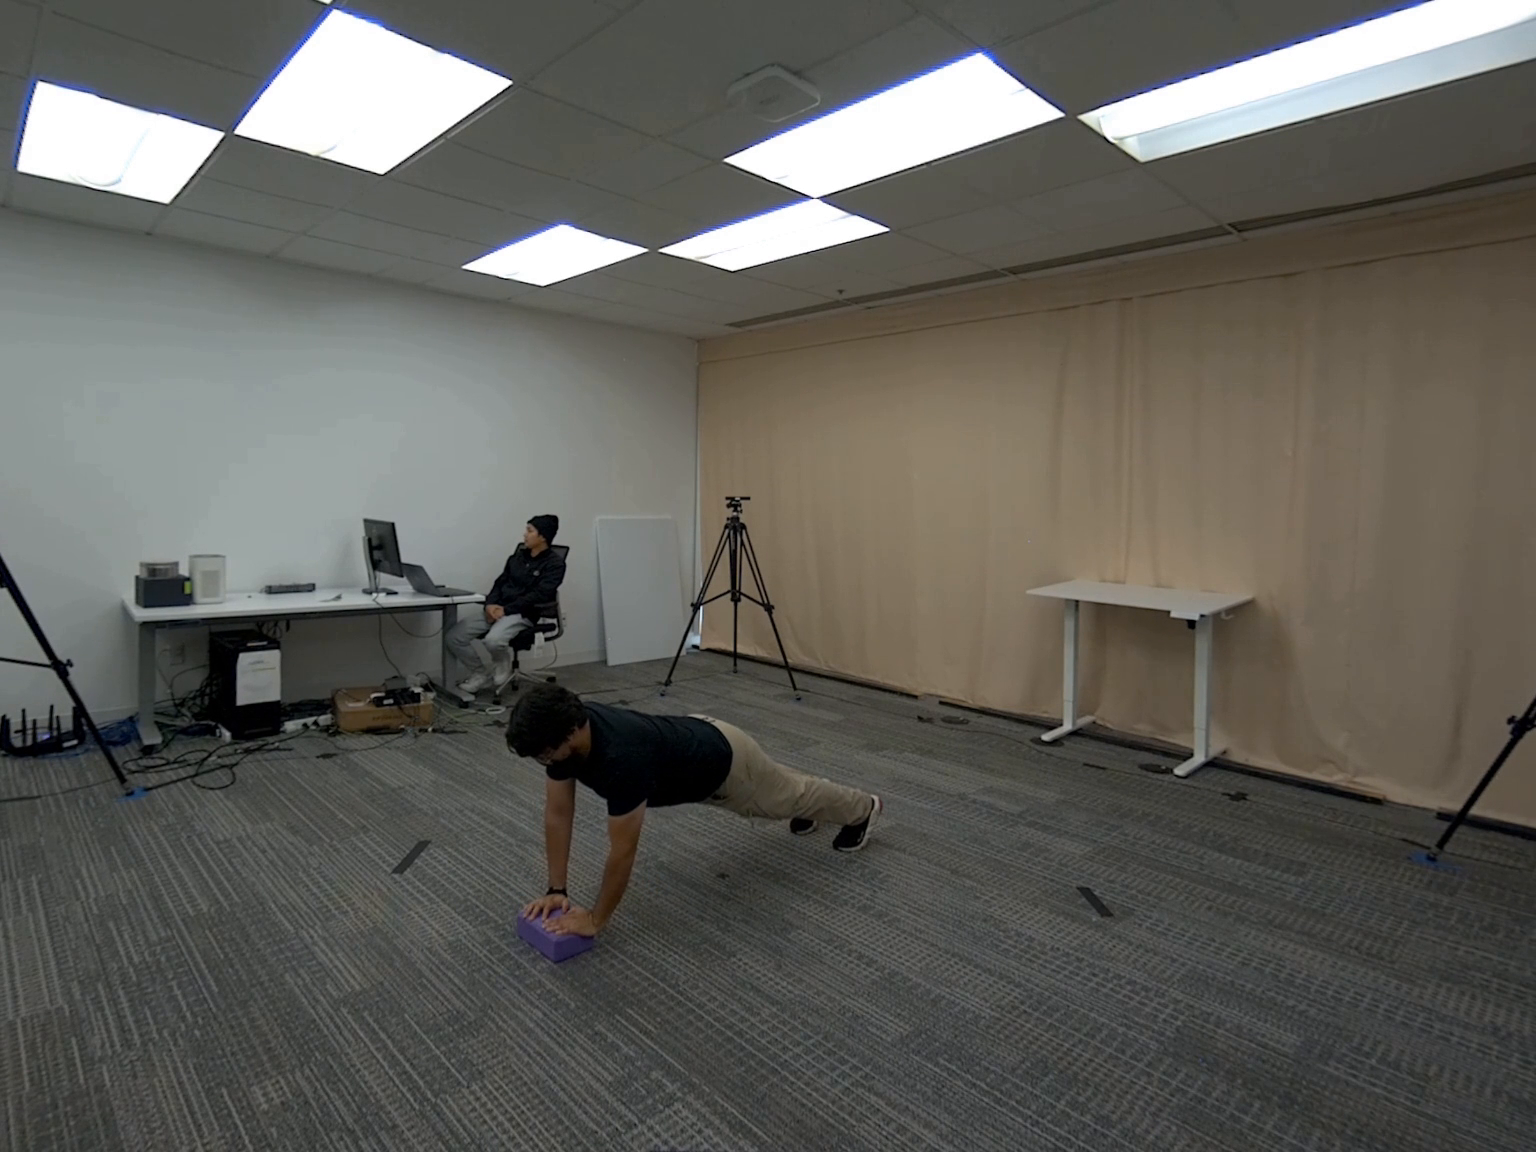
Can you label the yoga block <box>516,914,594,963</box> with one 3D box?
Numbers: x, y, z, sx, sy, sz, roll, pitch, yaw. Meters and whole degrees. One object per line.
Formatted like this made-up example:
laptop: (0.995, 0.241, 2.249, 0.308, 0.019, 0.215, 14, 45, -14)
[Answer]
yoga block: (-0.669, 1.105, 2.620, 0.235, 0.076, 0.146, 6, 9, 43)
